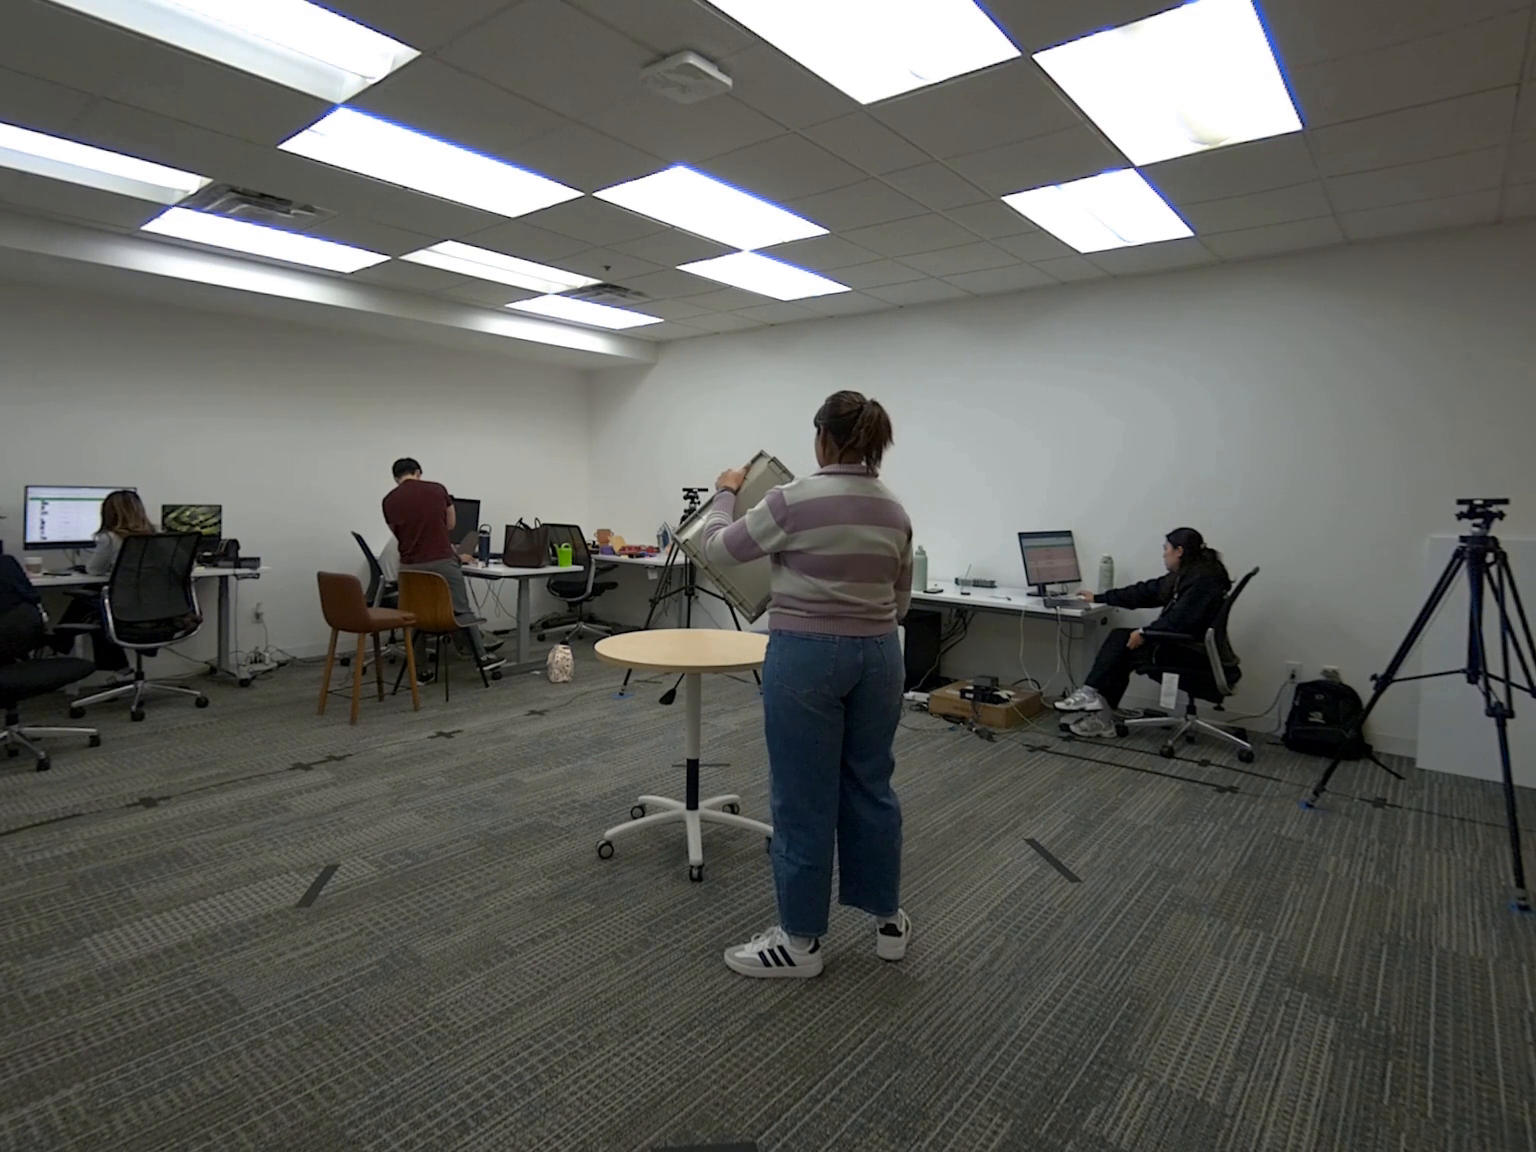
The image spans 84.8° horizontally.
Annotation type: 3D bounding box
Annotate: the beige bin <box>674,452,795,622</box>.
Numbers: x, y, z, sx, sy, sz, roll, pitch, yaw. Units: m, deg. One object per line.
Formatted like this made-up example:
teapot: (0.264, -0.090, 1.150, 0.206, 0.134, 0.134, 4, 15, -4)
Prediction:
beige bin: (-0.043, -0.133, 2.754, 0.383, 0.422, 0.186, 45, -4, 10)
